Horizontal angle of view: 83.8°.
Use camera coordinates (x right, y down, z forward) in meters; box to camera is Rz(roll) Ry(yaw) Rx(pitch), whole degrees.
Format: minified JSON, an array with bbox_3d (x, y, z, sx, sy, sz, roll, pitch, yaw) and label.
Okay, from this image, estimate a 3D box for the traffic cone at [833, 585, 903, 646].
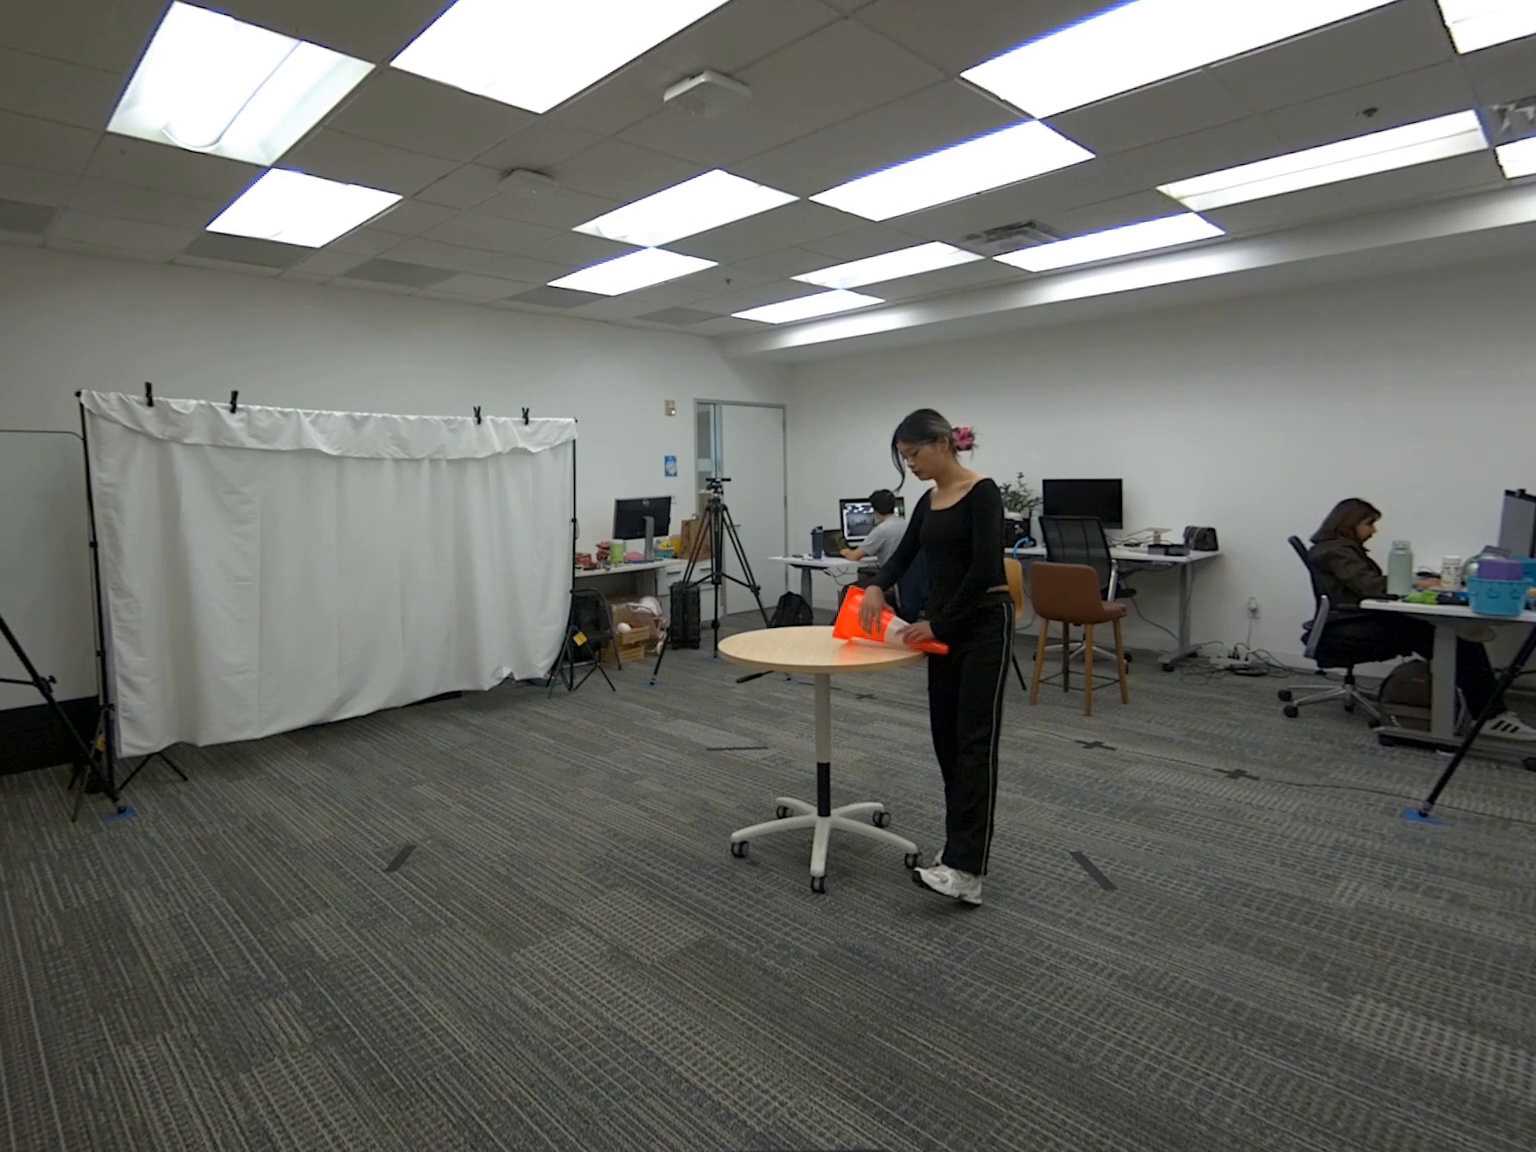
[{"bbox_3d":[0.463,0.194,3.014,0.397,0.203,0.198,18,-1,34],"label":"traffic cone"}]
